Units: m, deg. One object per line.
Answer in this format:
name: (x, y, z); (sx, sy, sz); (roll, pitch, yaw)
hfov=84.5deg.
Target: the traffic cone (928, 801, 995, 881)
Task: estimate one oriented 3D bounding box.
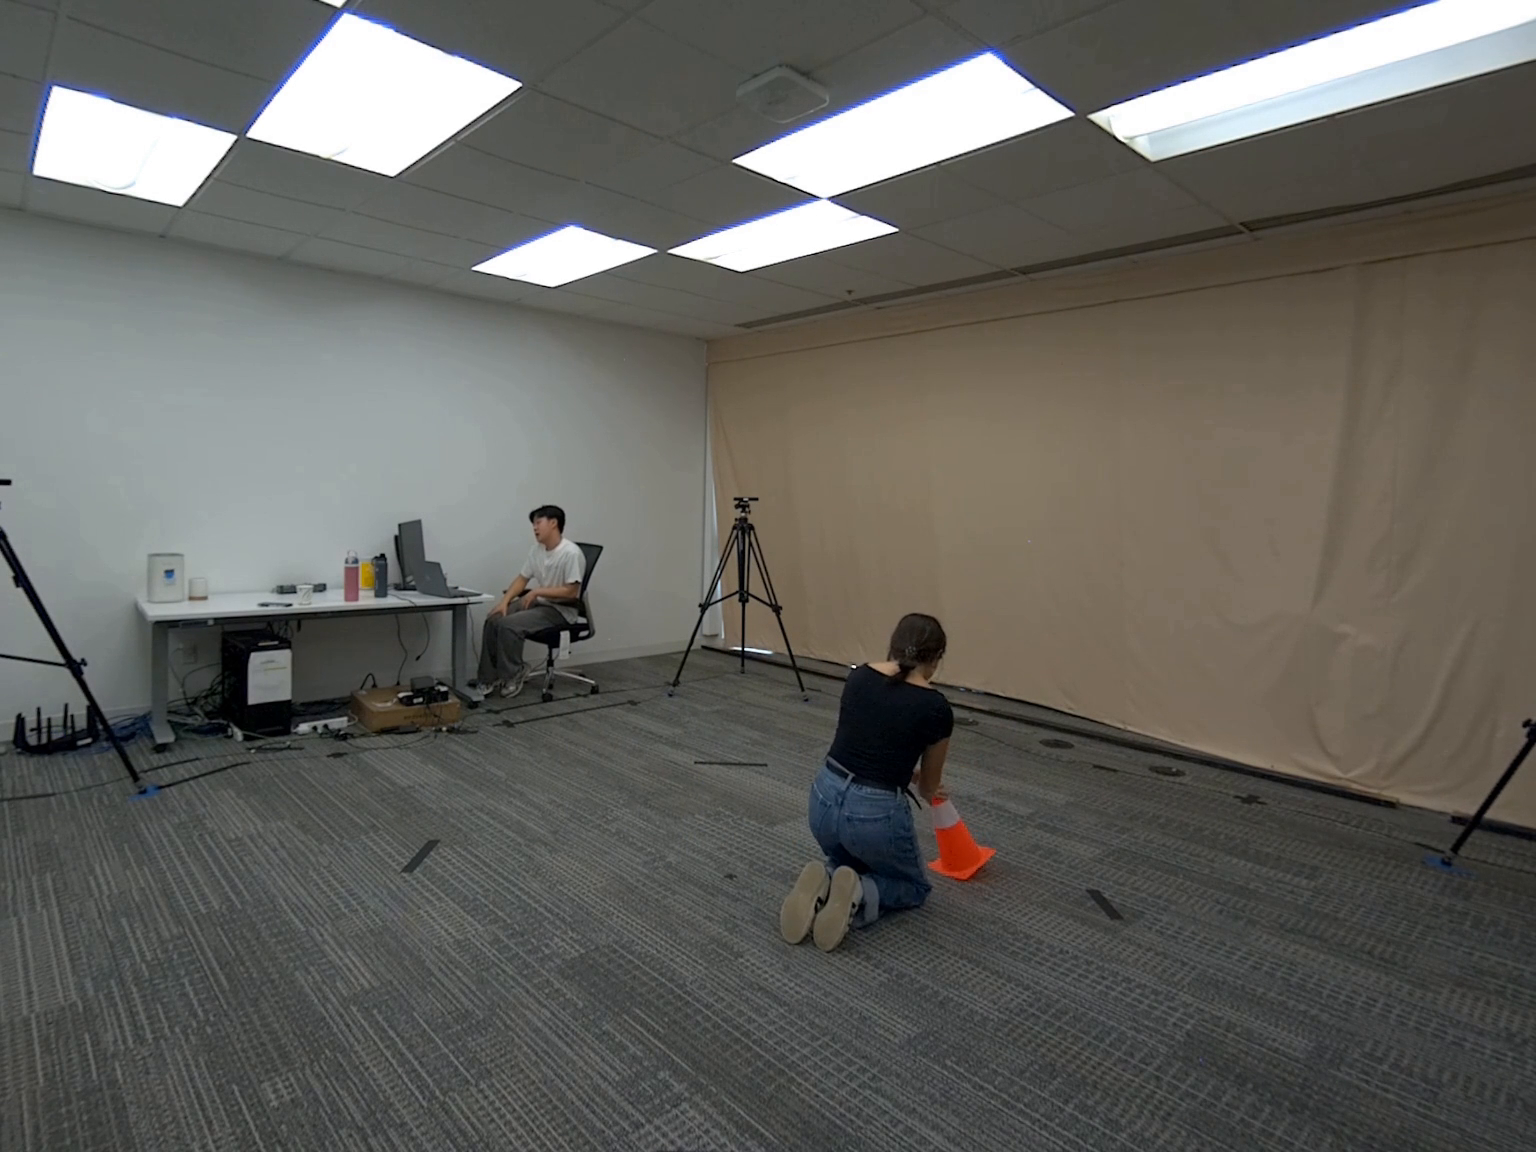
traffic cone: (0.668, 0.922, 3.196); (0.201, 0.381, 0.208); (-24, 8, -30)
